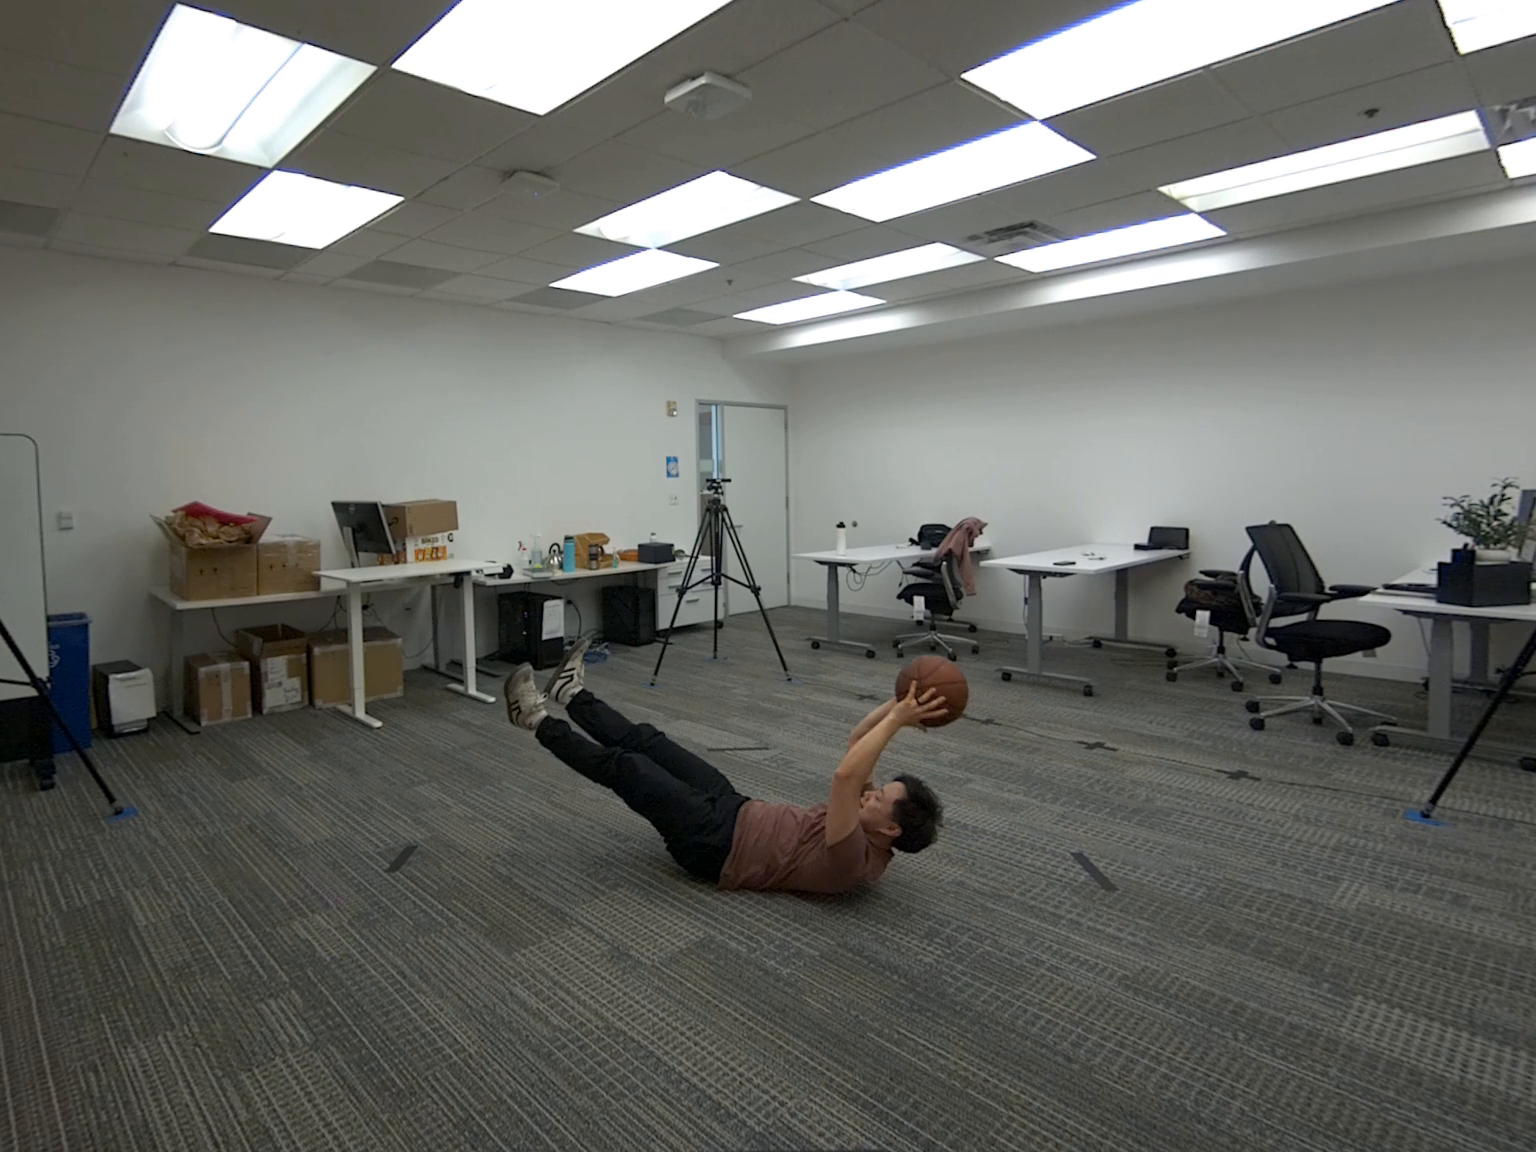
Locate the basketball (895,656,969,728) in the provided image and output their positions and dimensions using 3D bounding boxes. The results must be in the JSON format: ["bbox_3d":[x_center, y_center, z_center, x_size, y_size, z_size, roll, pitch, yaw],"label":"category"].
[{"bbox_3d":[0.538,0.386,2.808,0.236,0.236,0.236,0,1,-2],"label":"basketball"}]
